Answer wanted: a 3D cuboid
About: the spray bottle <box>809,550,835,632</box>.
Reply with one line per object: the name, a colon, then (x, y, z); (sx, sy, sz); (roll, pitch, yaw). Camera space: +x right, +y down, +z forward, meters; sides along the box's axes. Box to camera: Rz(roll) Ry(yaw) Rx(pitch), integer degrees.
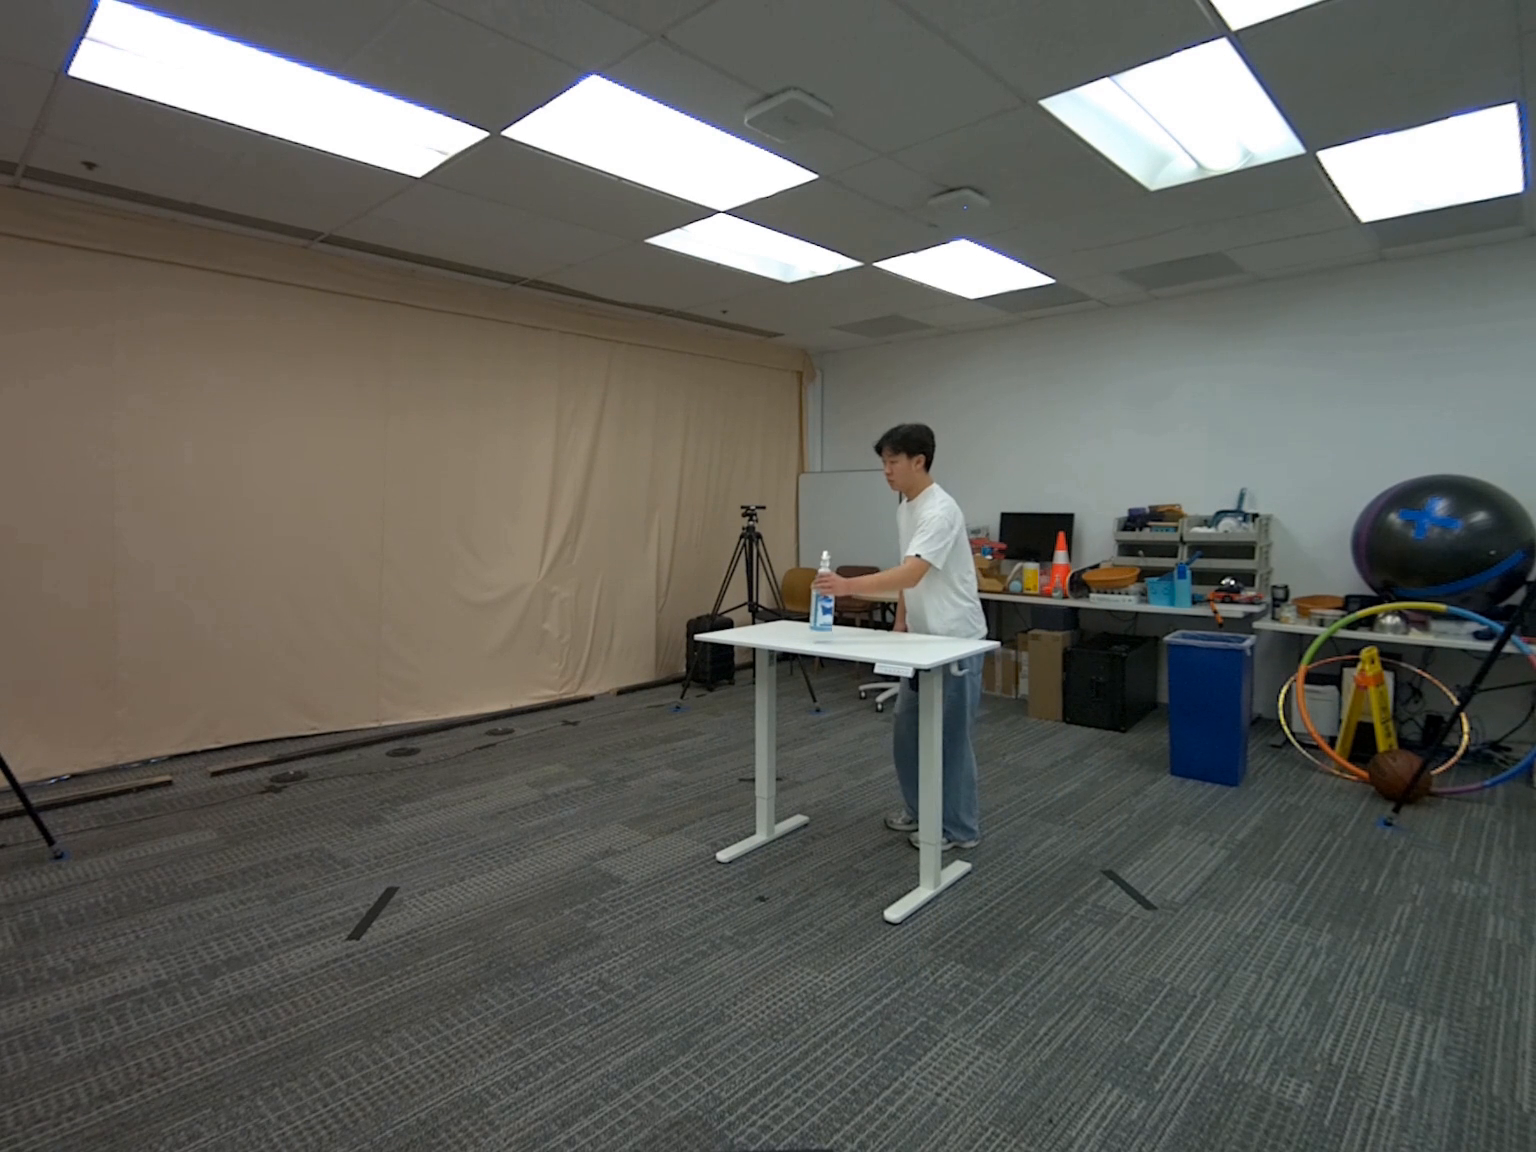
spray bottle: (0.215, 0.050, 3.137); (0.090, 0.298, 0.087); (3, -2, 36)
